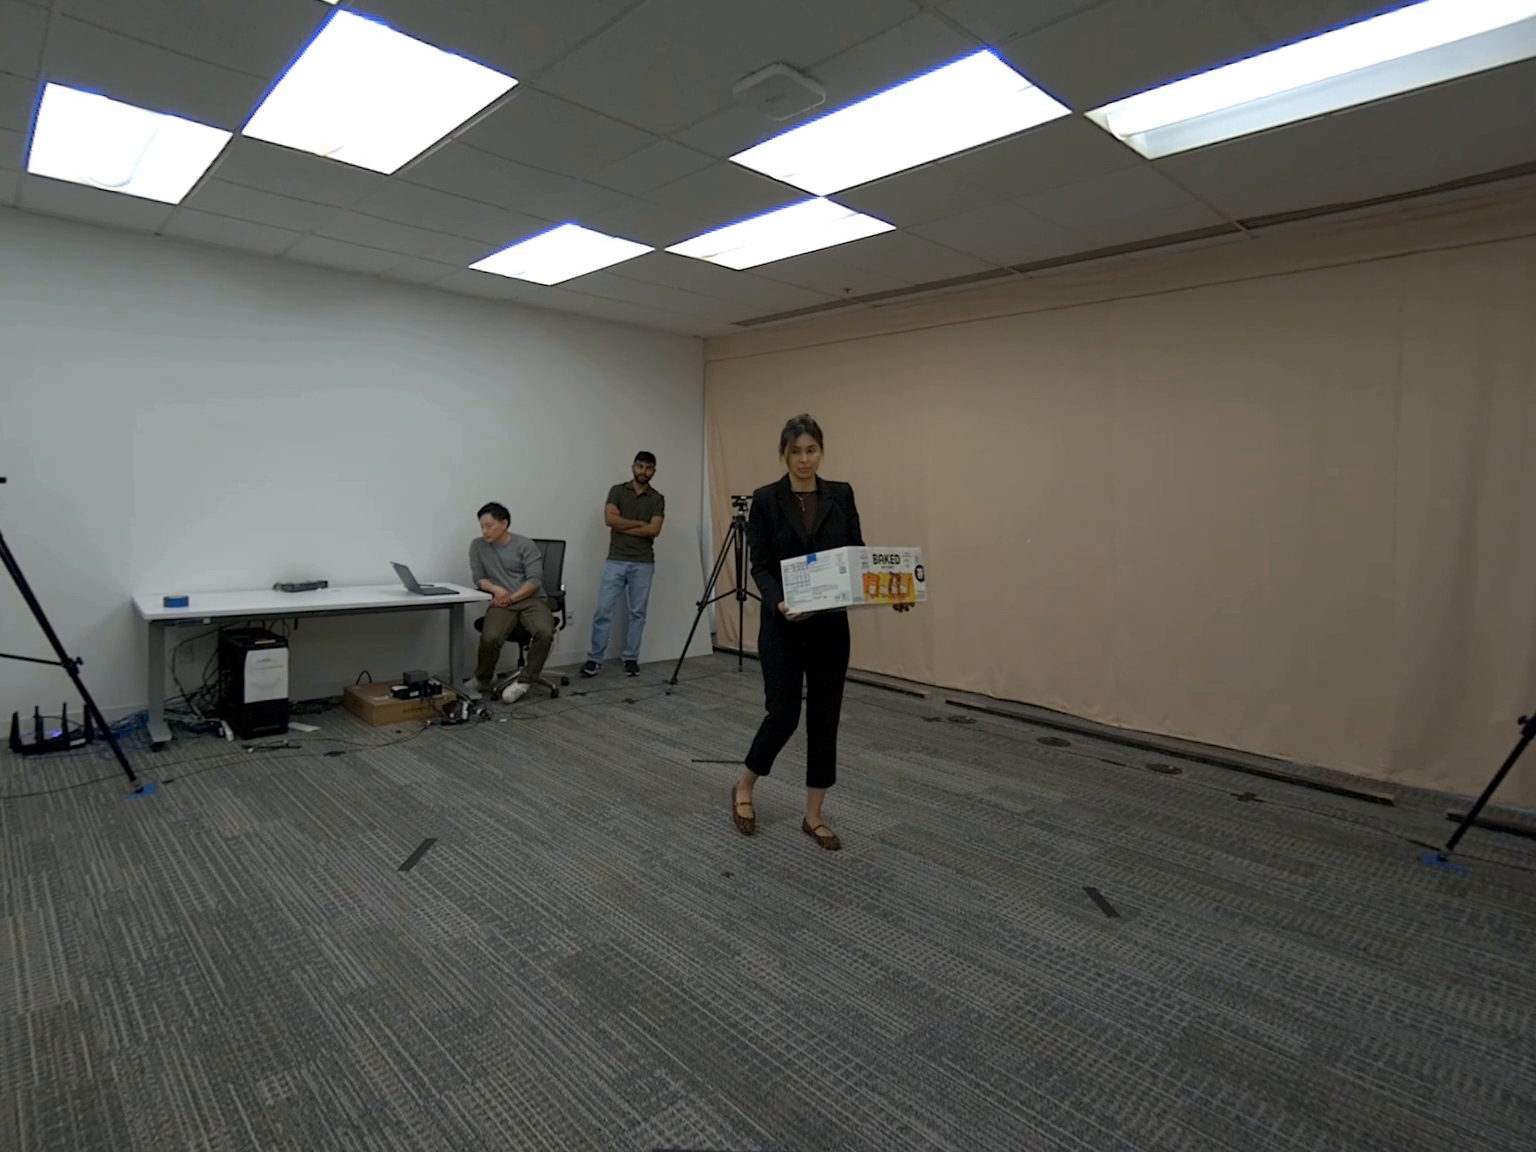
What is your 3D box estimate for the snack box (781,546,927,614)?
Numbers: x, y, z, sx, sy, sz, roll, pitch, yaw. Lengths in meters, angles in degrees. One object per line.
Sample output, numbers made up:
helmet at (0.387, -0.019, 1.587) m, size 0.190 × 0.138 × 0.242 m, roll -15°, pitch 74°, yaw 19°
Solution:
snack box at (0.293, 0.019, 3.104) m, size 0.396 × 0.207 × 0.346 m, roll -1°, pitch -8°, yaw -41°
